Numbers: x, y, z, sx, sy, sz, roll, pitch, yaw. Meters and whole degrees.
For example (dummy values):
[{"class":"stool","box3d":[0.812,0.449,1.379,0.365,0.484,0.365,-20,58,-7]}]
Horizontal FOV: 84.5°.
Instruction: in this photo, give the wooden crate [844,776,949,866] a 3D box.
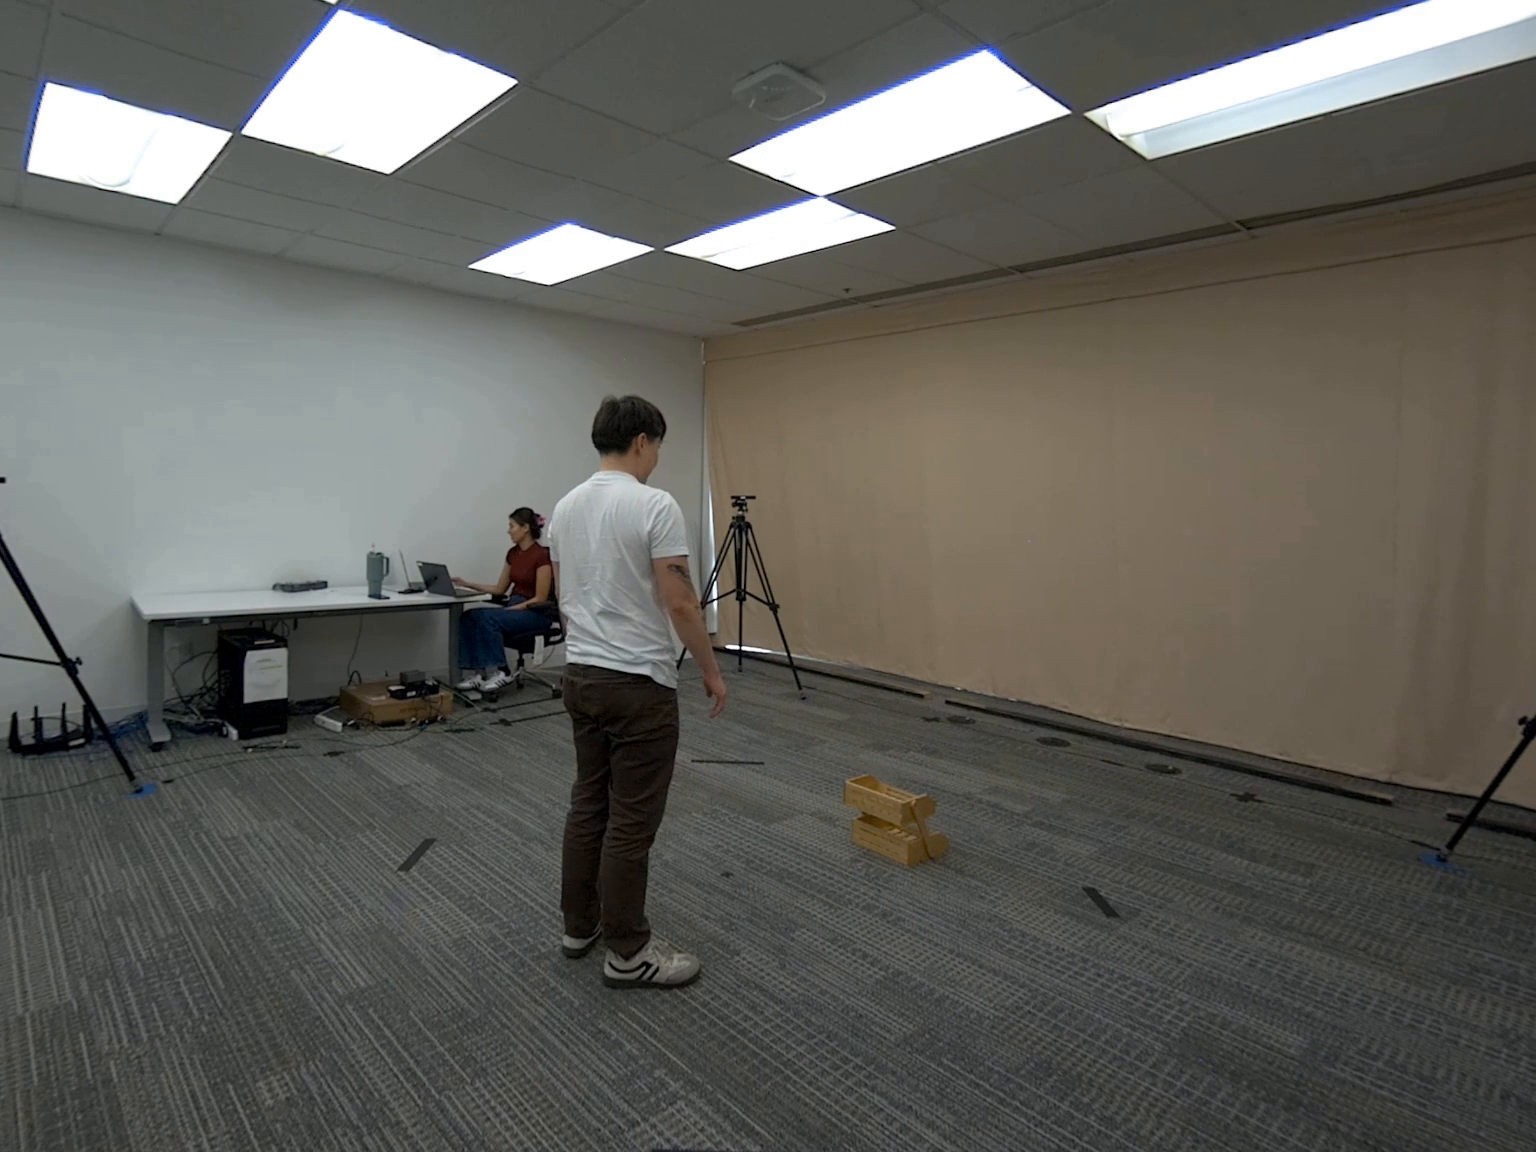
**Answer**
[{"class":"wooden crate","box3d":[0.511,0.961,3.382,0.295,0.272,0.333,-3,6,-40]}]
